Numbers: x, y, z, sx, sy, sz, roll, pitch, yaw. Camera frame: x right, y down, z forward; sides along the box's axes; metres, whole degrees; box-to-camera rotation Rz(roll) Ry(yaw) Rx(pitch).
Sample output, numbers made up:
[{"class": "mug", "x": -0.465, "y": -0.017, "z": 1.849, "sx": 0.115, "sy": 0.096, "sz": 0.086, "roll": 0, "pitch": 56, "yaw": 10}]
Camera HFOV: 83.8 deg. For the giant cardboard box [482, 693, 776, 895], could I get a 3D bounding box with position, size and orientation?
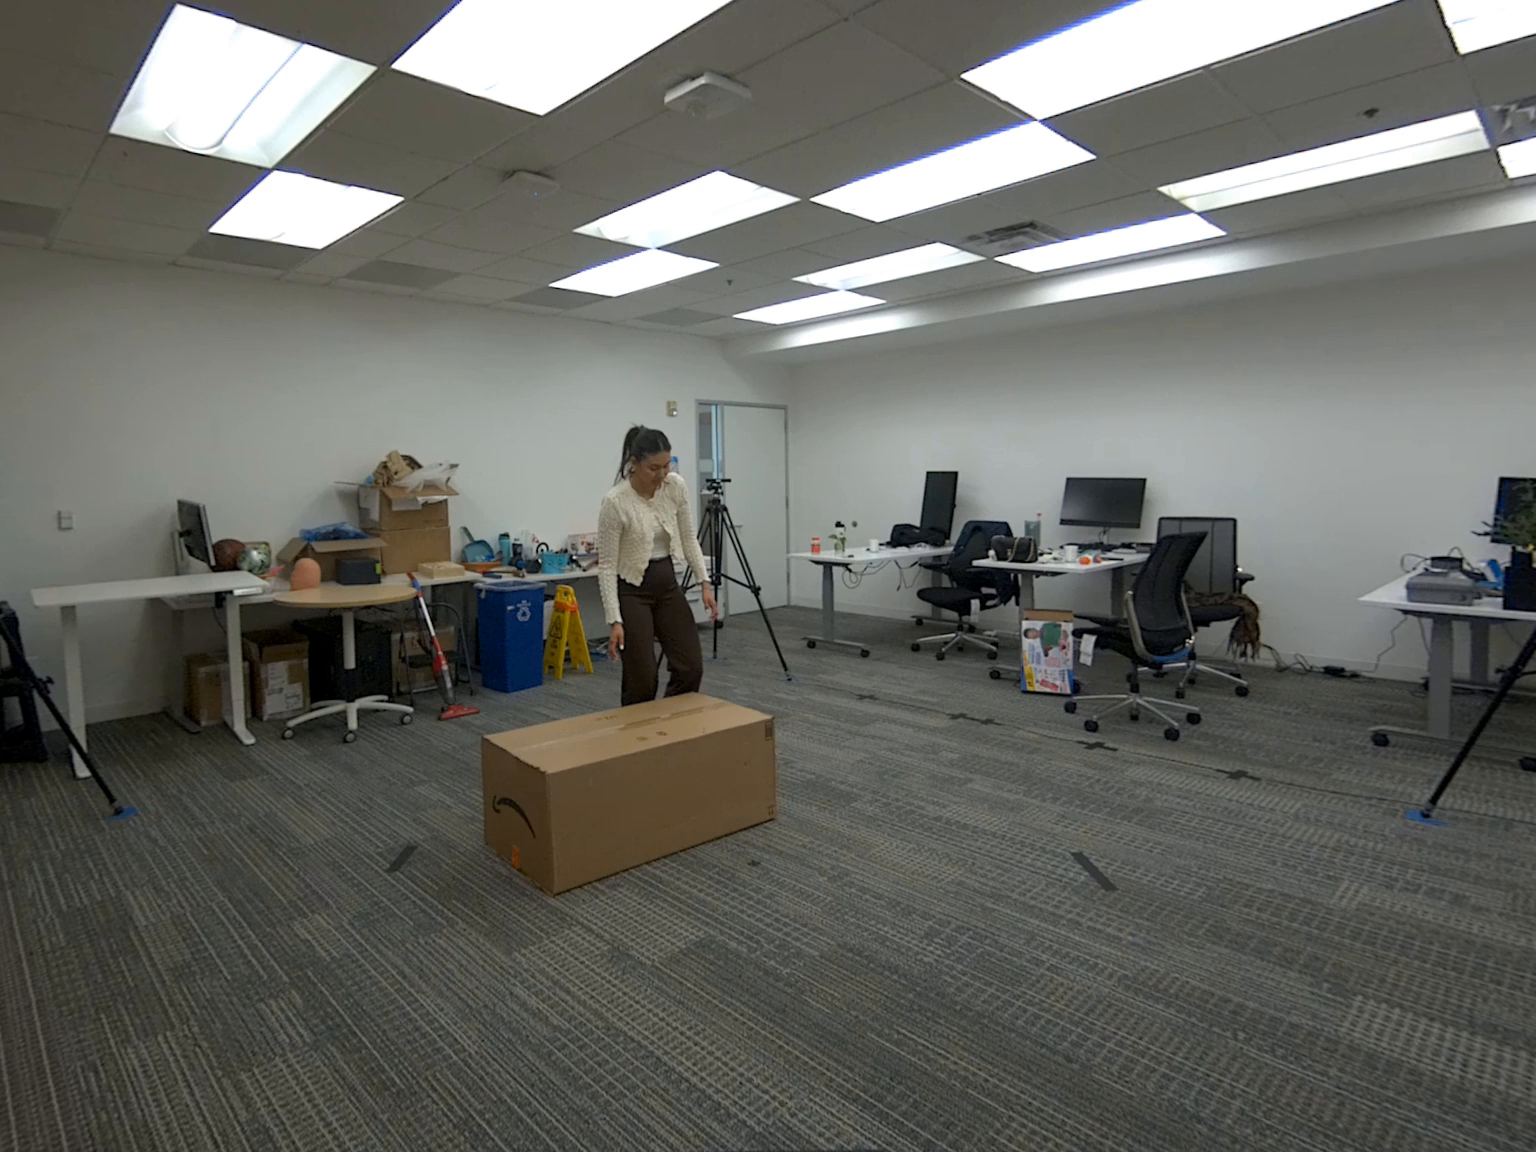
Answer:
[{"class": "giant cardboard box", "x": -0.535, "y": 0.809, "z": 3.399, "sx": 0.999, "sy": 0.424, "sz": 0.595, "roll": -6, "pitch": 7, "yaw": -39}]
